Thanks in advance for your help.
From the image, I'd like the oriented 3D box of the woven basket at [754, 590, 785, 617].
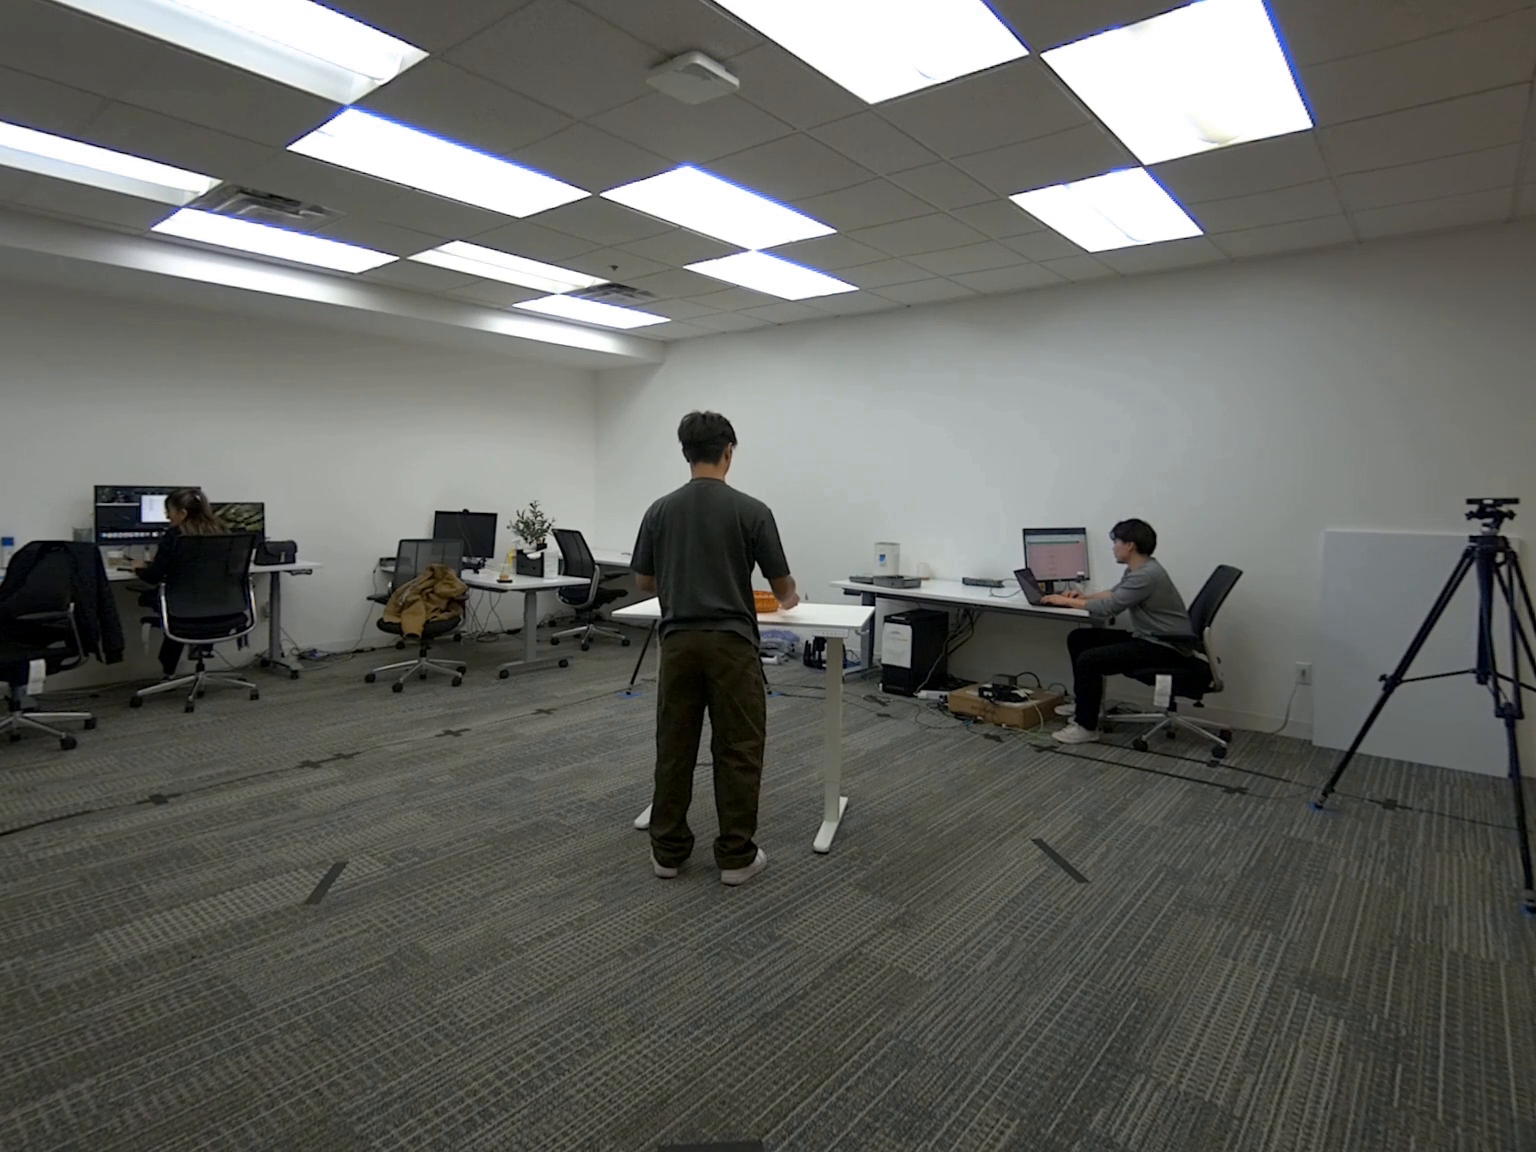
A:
[{"bbox_3d":[-0.112,0.107,3.599,0.356,0.073,0.249,3,5,15],"label":"woven basket"}]
